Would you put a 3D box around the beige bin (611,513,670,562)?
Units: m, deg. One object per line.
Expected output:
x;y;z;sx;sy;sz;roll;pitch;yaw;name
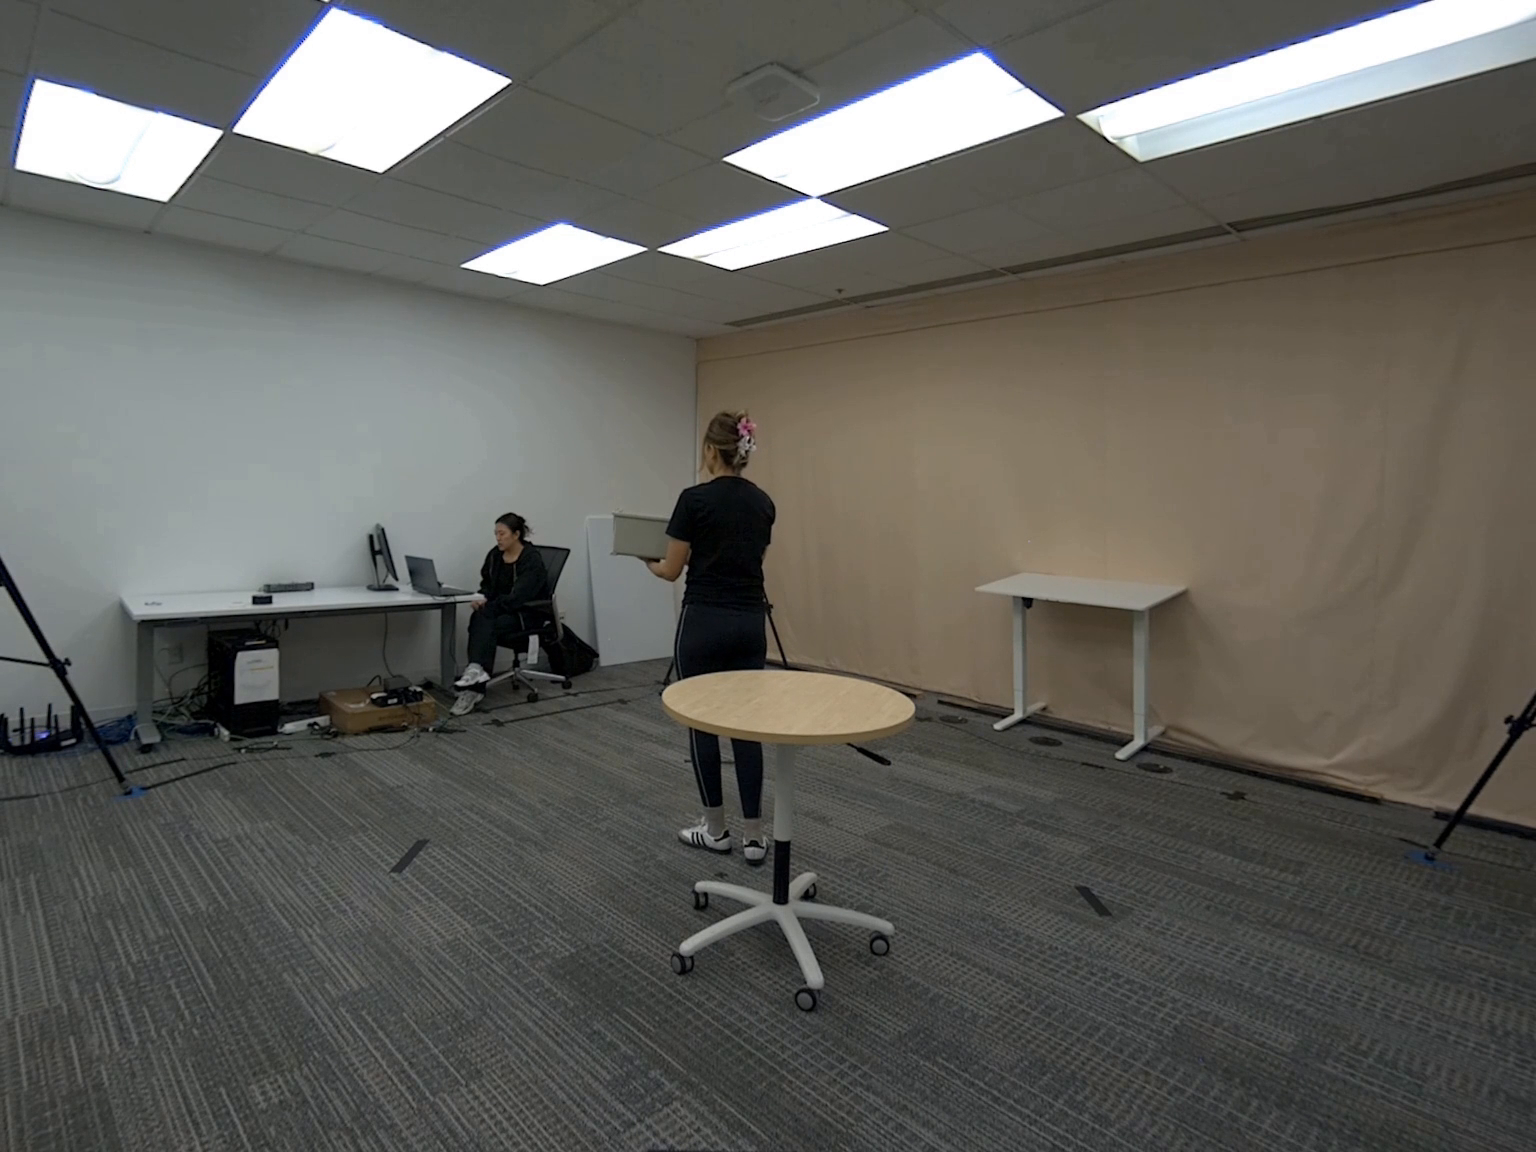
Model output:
-0.465;-0.177;3.628;0.421;0.188;0.380;6;7;-3;beige bin
